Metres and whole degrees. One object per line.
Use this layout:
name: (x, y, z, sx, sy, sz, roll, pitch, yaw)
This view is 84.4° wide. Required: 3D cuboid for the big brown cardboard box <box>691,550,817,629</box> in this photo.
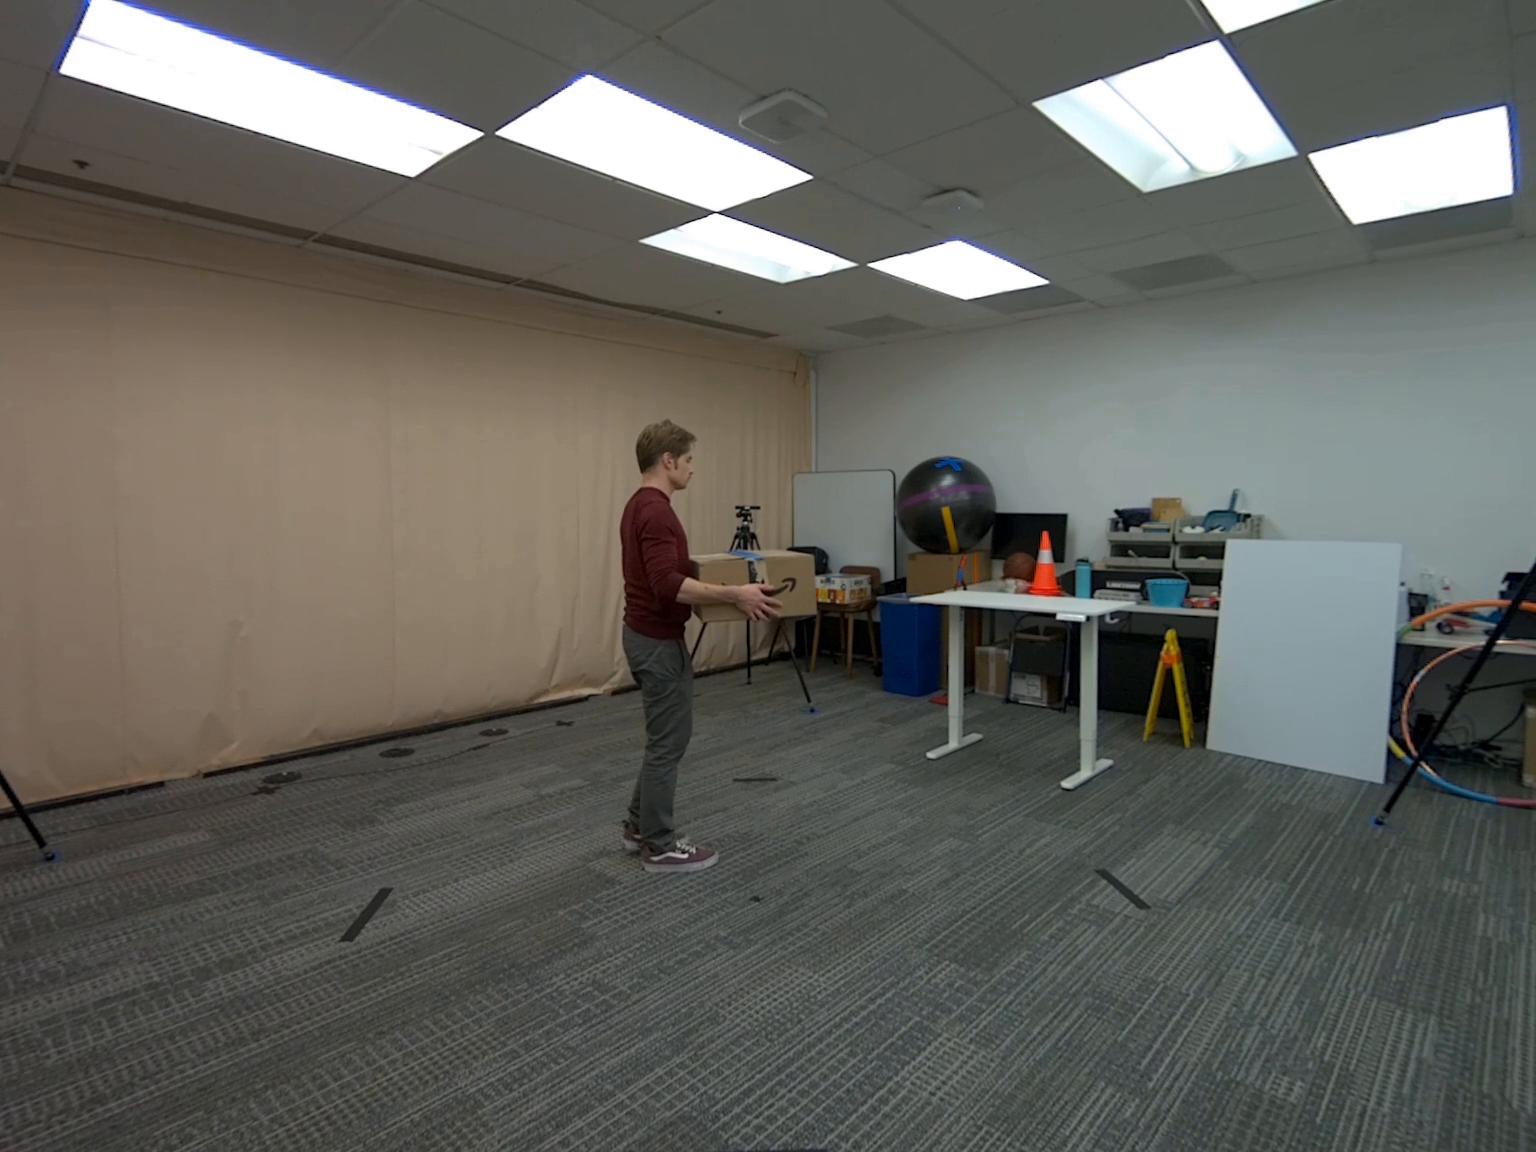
big brown cardboard box: (-0.089, 0.028, 3.268, 0.414, 0.232, 0.595, -4, 5, -8)
